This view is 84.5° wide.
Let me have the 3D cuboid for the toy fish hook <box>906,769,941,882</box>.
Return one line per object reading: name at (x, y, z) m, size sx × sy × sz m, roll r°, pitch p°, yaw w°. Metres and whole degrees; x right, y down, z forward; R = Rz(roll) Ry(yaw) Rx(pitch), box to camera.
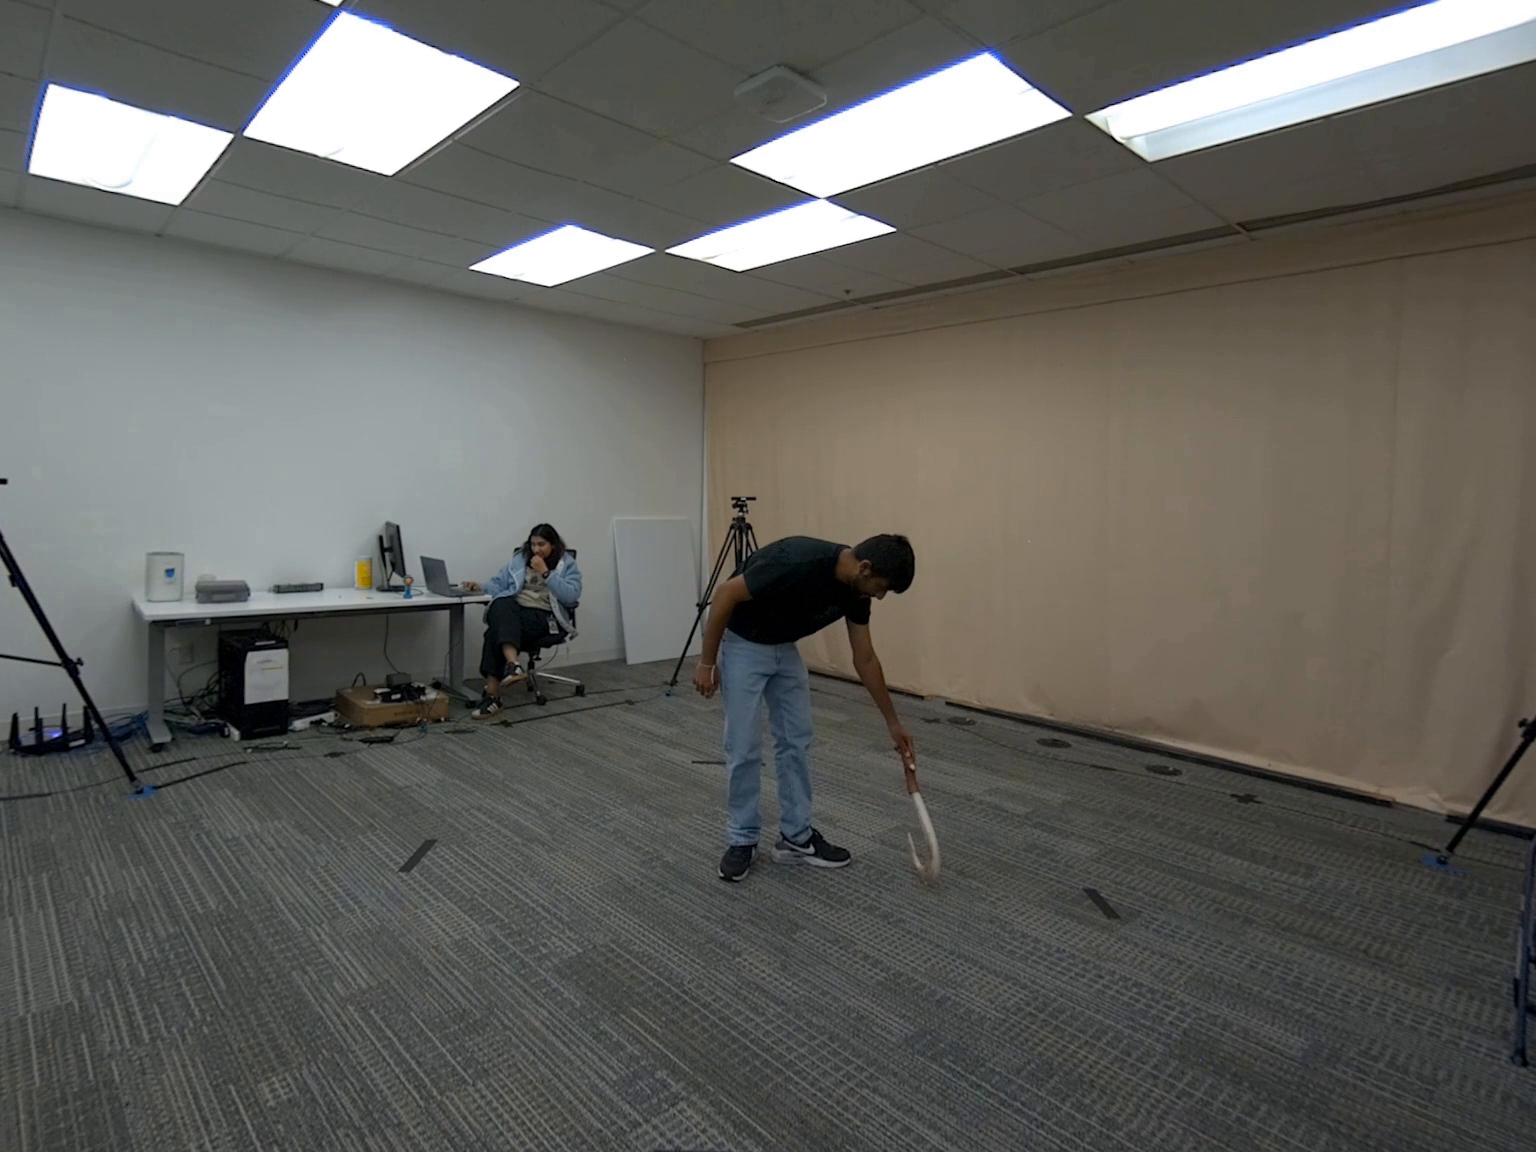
toy fish hook at (0.535, 0.889, 3.173) m, size 0.048 × 0.518 × 0.222 m, roll 1°, pitch -33°, yaw -18°
